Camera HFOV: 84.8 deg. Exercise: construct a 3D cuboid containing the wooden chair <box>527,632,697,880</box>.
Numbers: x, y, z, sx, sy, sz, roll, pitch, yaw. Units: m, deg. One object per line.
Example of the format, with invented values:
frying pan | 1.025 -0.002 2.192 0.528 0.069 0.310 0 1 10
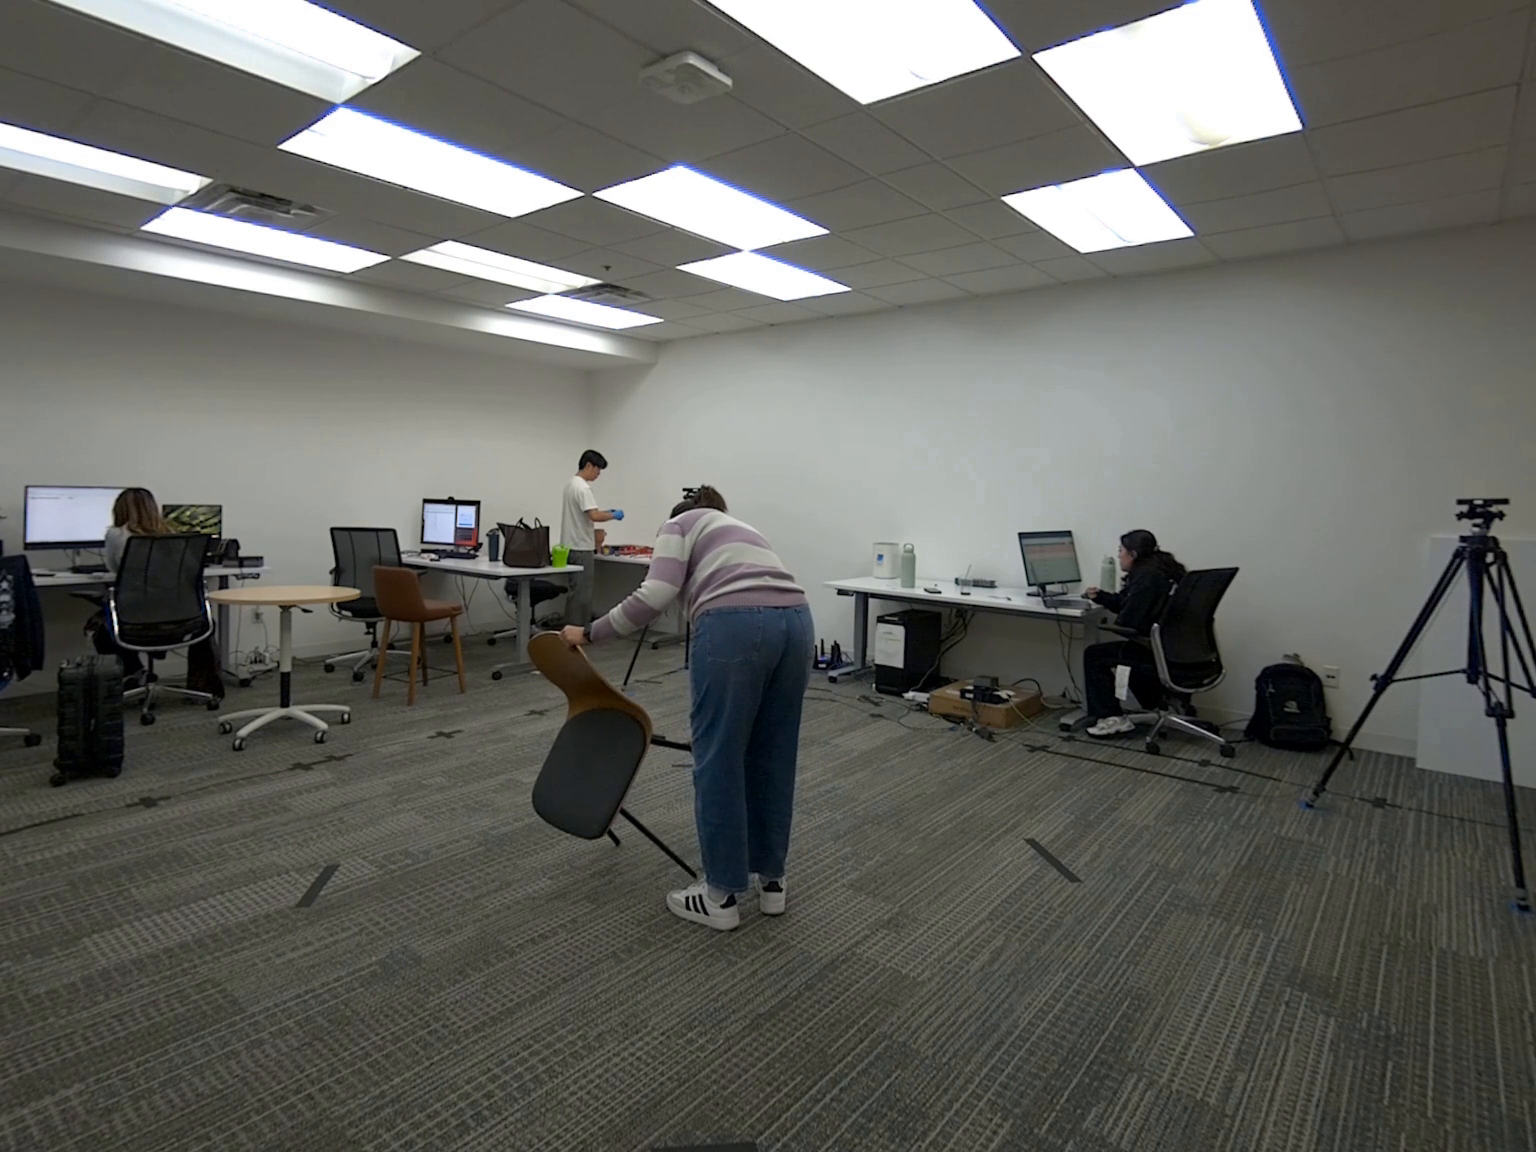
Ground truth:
wooden chair | -0.590 0.650 2.988 0.494 0.527 0.842 2 -34 43
